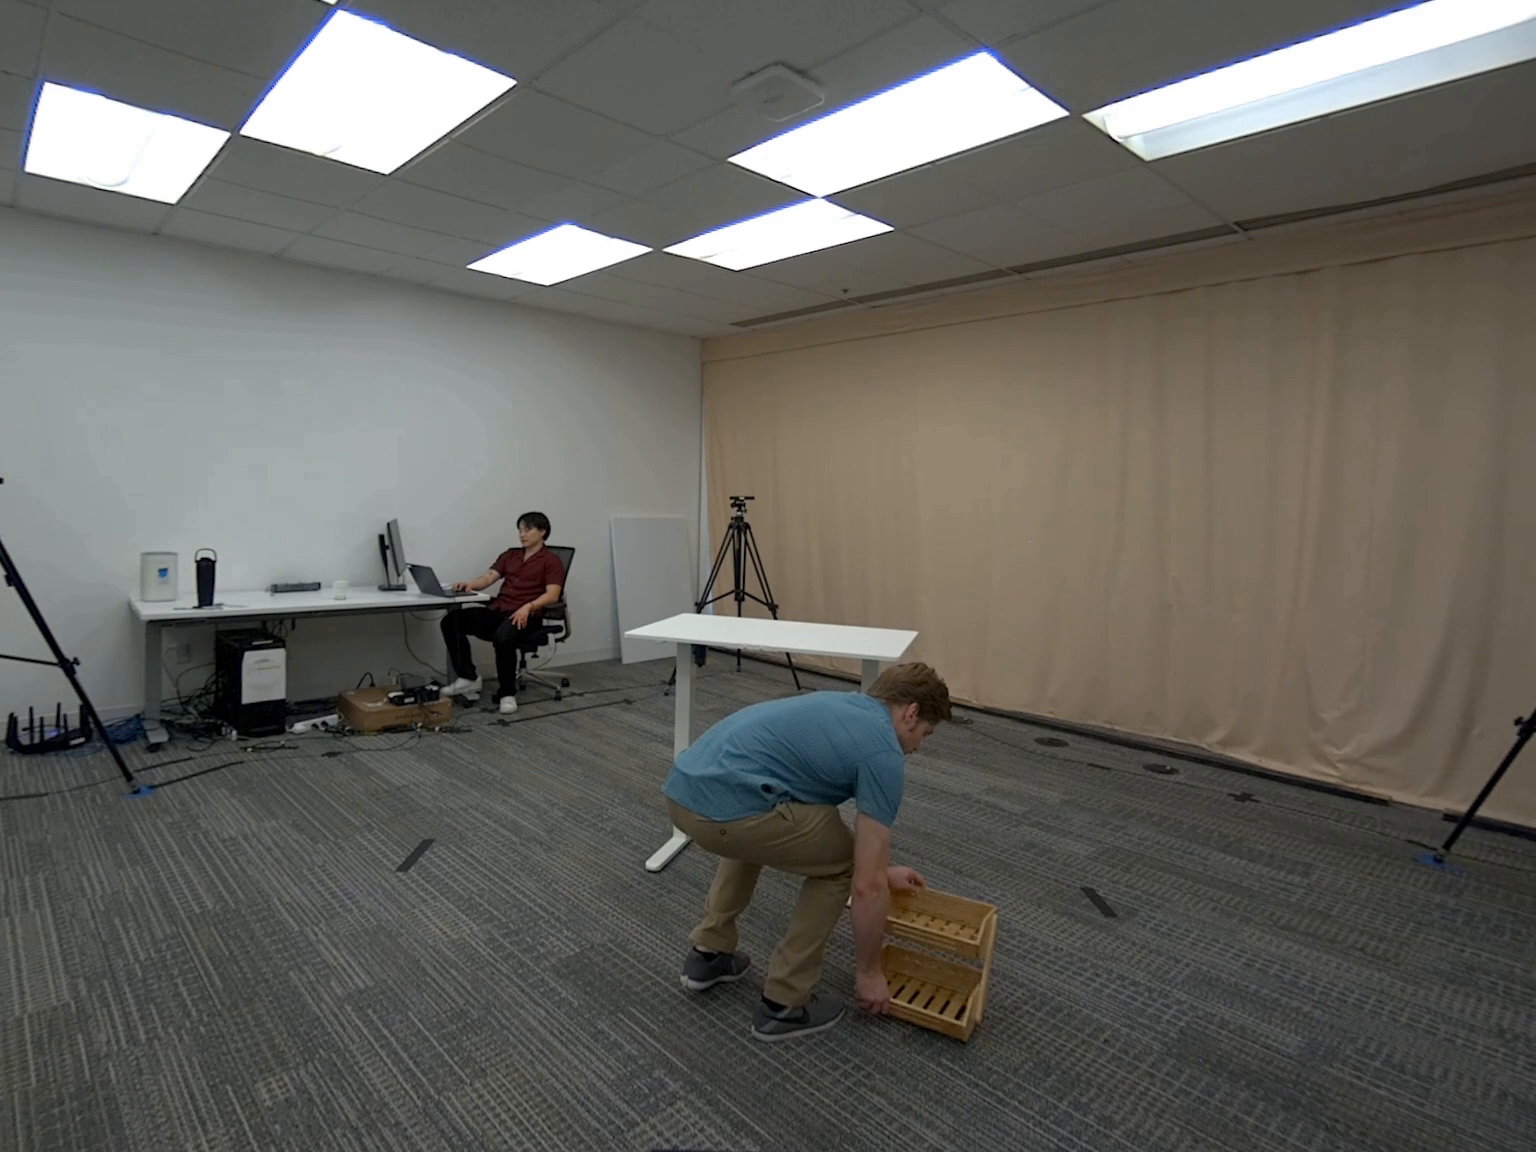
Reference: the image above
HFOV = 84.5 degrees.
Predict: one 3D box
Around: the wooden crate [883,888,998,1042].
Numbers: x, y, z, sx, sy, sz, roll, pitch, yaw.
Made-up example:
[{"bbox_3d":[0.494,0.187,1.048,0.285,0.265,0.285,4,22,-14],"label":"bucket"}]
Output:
[{"bbox_3d":[0.441,1.047,2.343,0.331,0.274,0.295,4,-1,27],"label":"wooden crate"}]
